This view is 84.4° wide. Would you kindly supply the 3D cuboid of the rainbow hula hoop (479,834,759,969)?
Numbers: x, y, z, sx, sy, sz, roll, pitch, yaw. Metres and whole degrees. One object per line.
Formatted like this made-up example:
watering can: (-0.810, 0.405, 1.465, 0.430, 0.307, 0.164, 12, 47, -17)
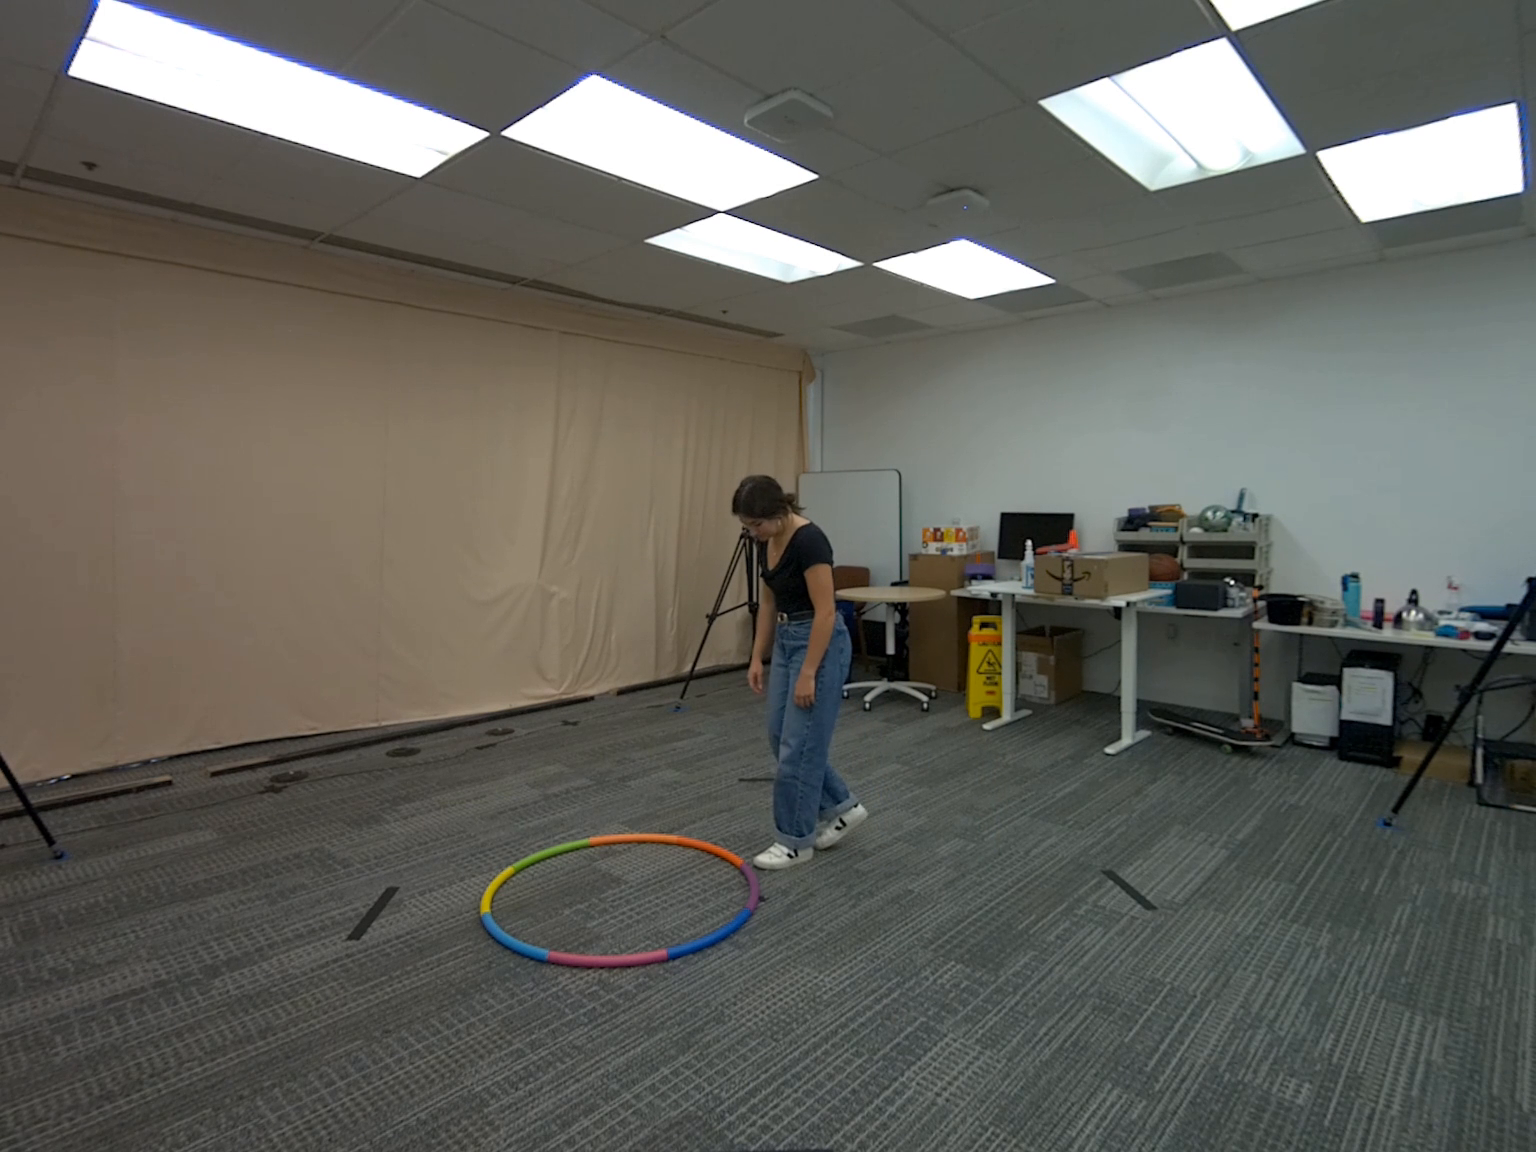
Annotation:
rainbow hula hoop: (-0.510, 1.116, 3.020, 0.978, 0.035, 0.982, -1, 5, -2)
